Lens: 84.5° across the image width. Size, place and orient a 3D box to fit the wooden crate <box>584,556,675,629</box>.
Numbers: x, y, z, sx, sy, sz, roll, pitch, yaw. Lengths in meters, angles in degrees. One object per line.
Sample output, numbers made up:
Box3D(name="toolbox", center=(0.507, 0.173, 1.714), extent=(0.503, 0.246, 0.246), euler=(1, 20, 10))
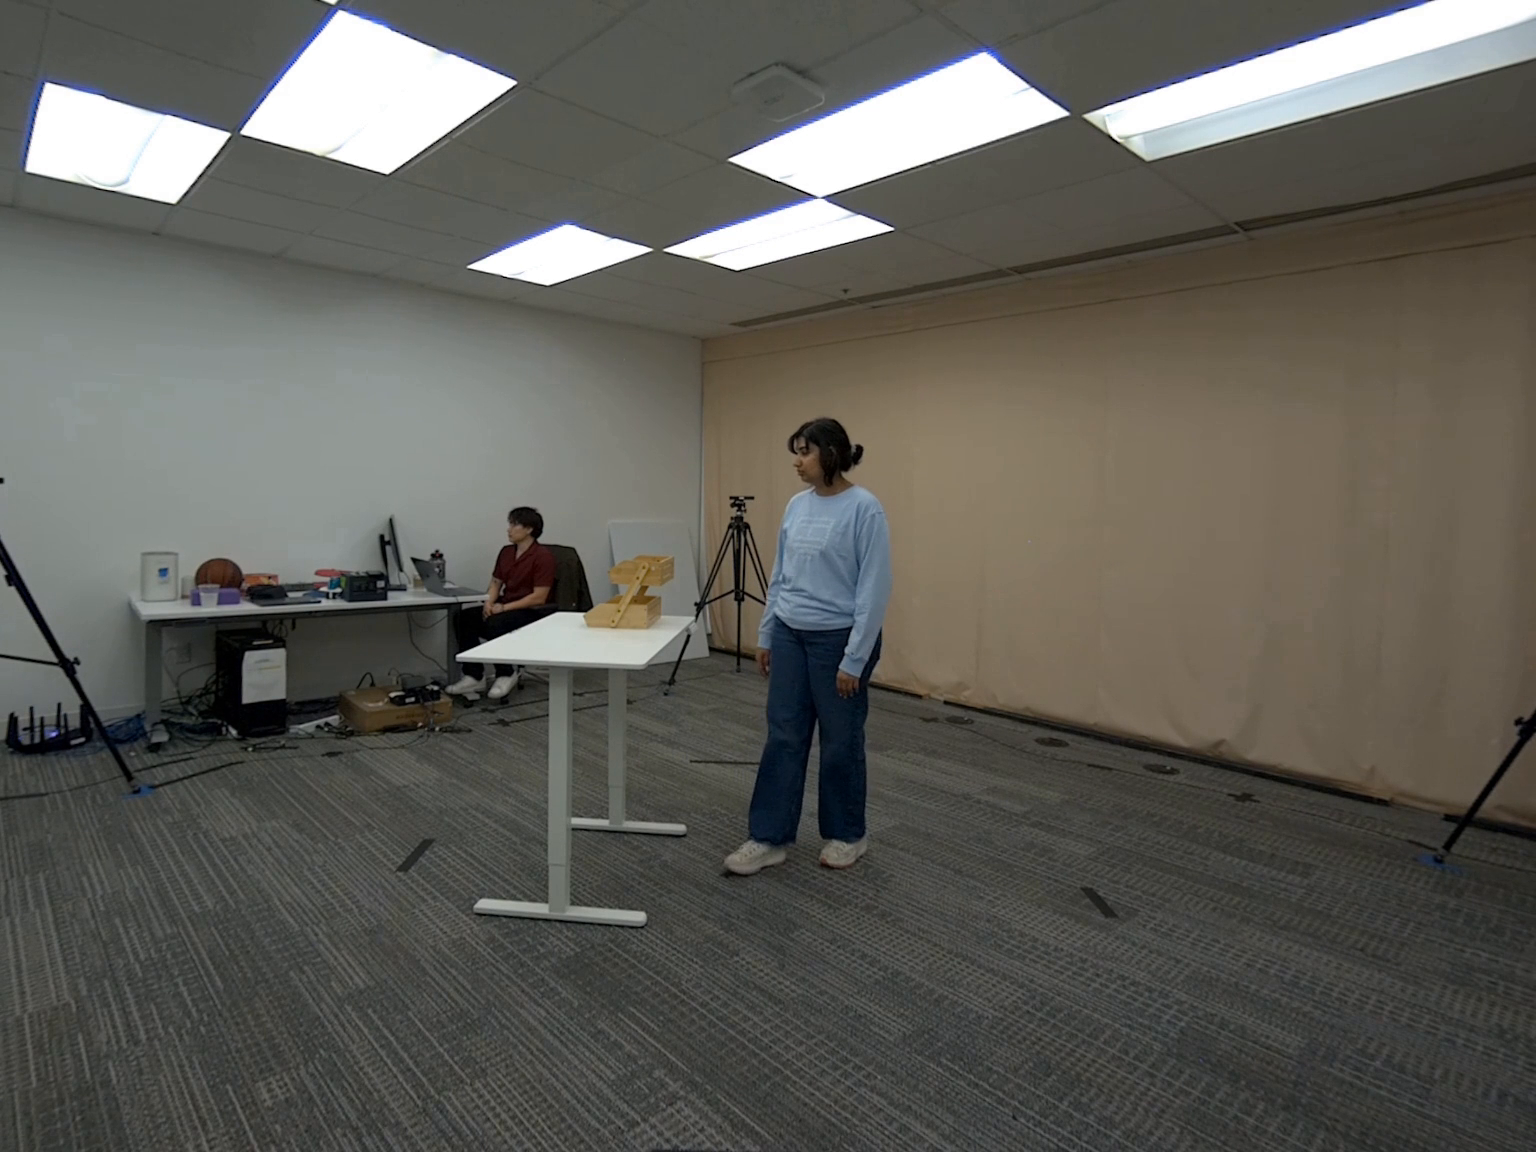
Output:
Box3D(name="wooden crate", center=(-0.554, 0.054, 3.355), extent=(0.303, 0.272, 0.324), euler=(3, 5, 4))
